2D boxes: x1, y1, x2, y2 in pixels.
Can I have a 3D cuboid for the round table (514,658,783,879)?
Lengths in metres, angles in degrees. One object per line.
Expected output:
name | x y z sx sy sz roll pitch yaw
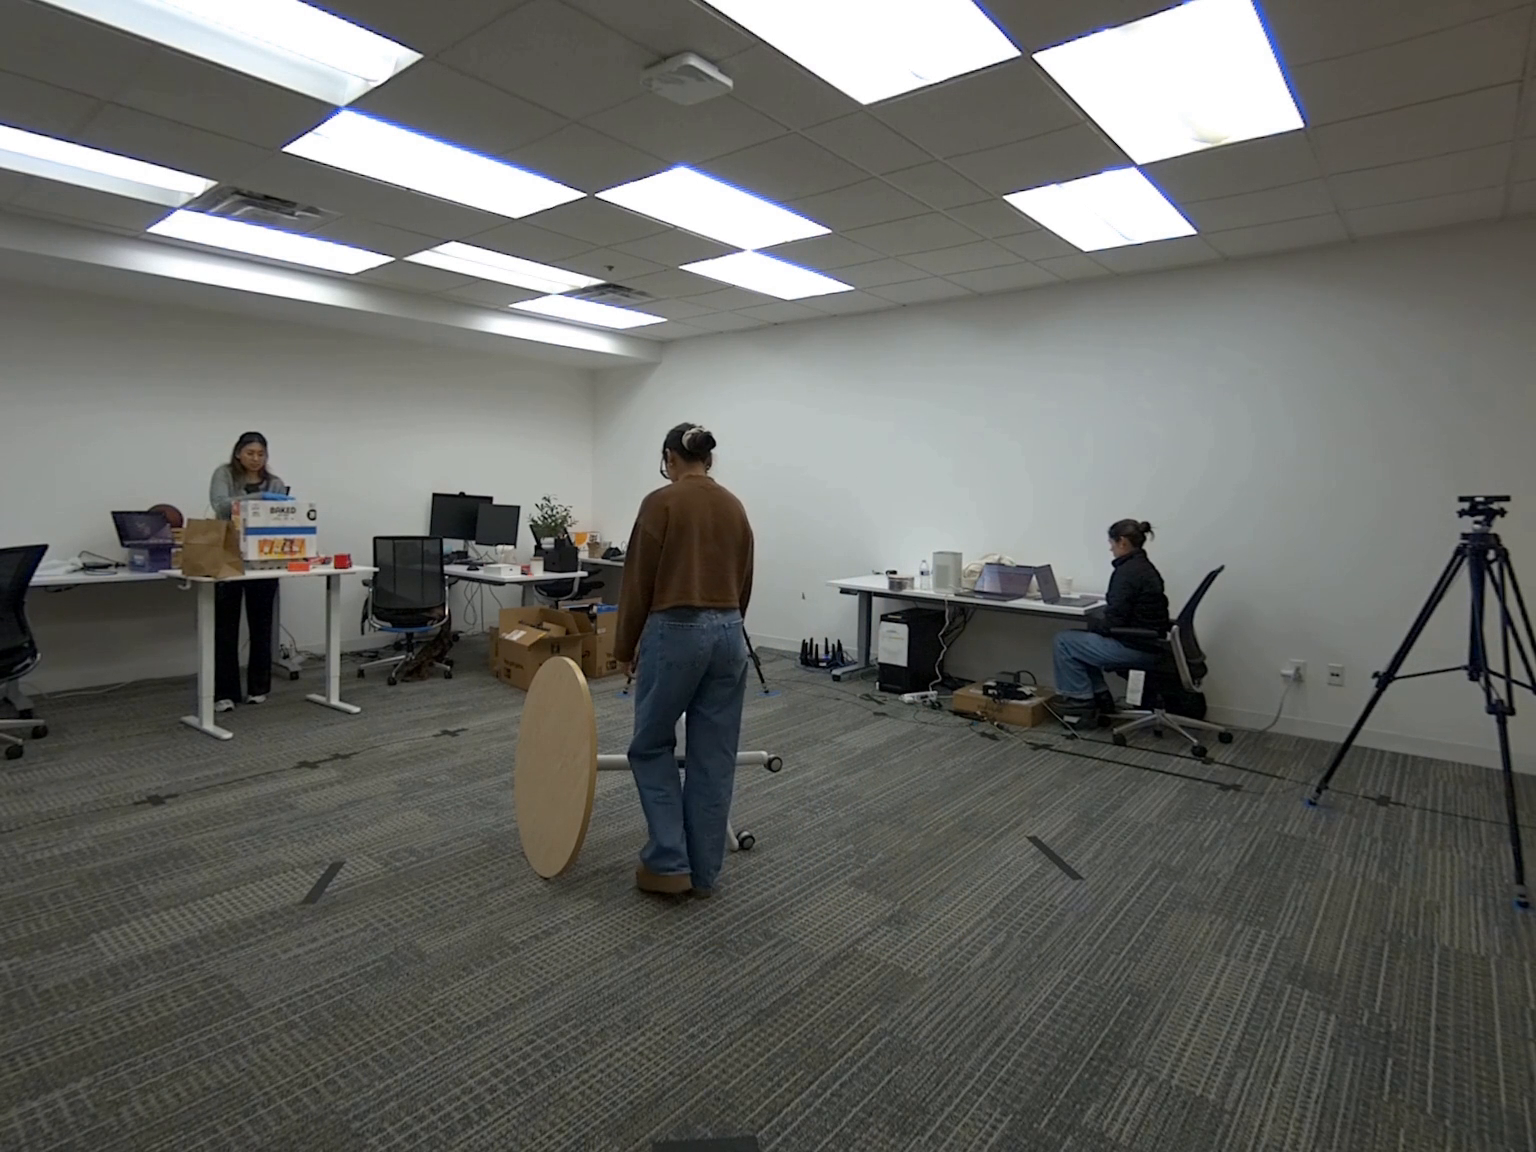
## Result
round table | -0.482 0.712 3.278 0.769 0.764 0.788 7 0 -32
